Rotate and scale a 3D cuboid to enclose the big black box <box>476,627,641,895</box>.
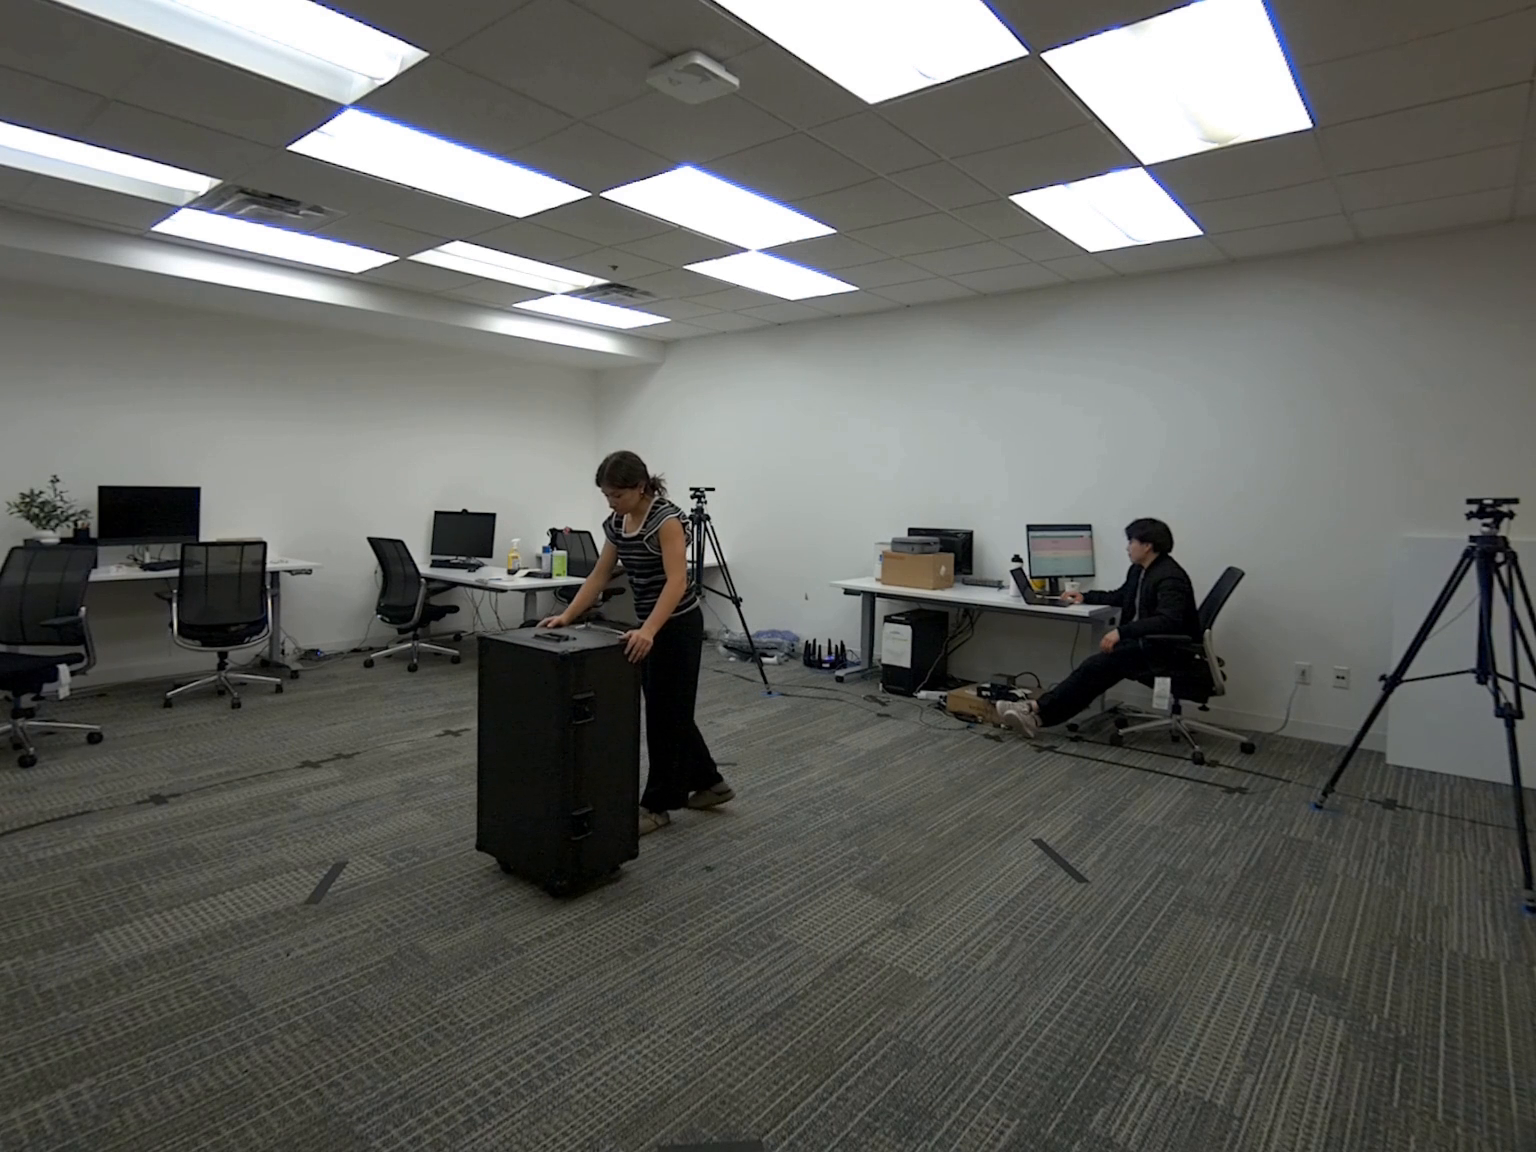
[{"bbox_3d":[-0.757,0.638,3.045,0.538,0.859,0.384,4,3,38],"label":"big black box"}]
